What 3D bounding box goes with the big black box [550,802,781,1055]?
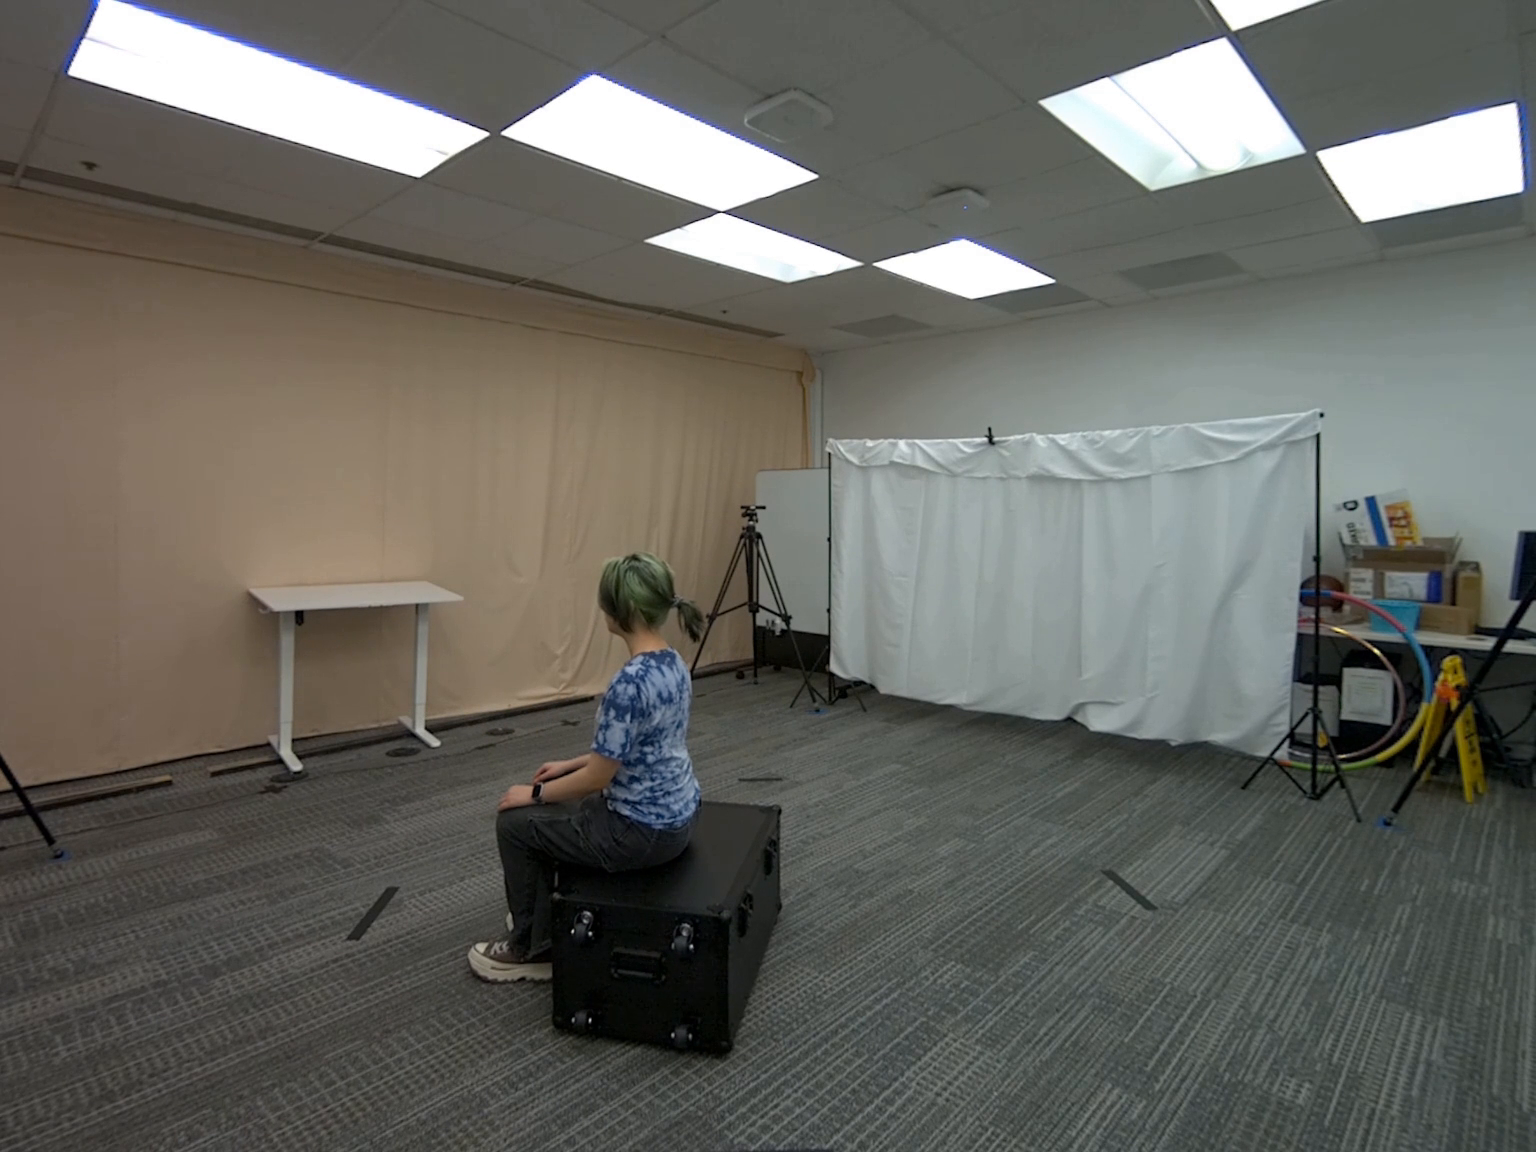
[{"bbox_3d":[-0.263,0.997,2.495,0.528,0.395,0.852,1,4,11],"label":"big black box"}]
